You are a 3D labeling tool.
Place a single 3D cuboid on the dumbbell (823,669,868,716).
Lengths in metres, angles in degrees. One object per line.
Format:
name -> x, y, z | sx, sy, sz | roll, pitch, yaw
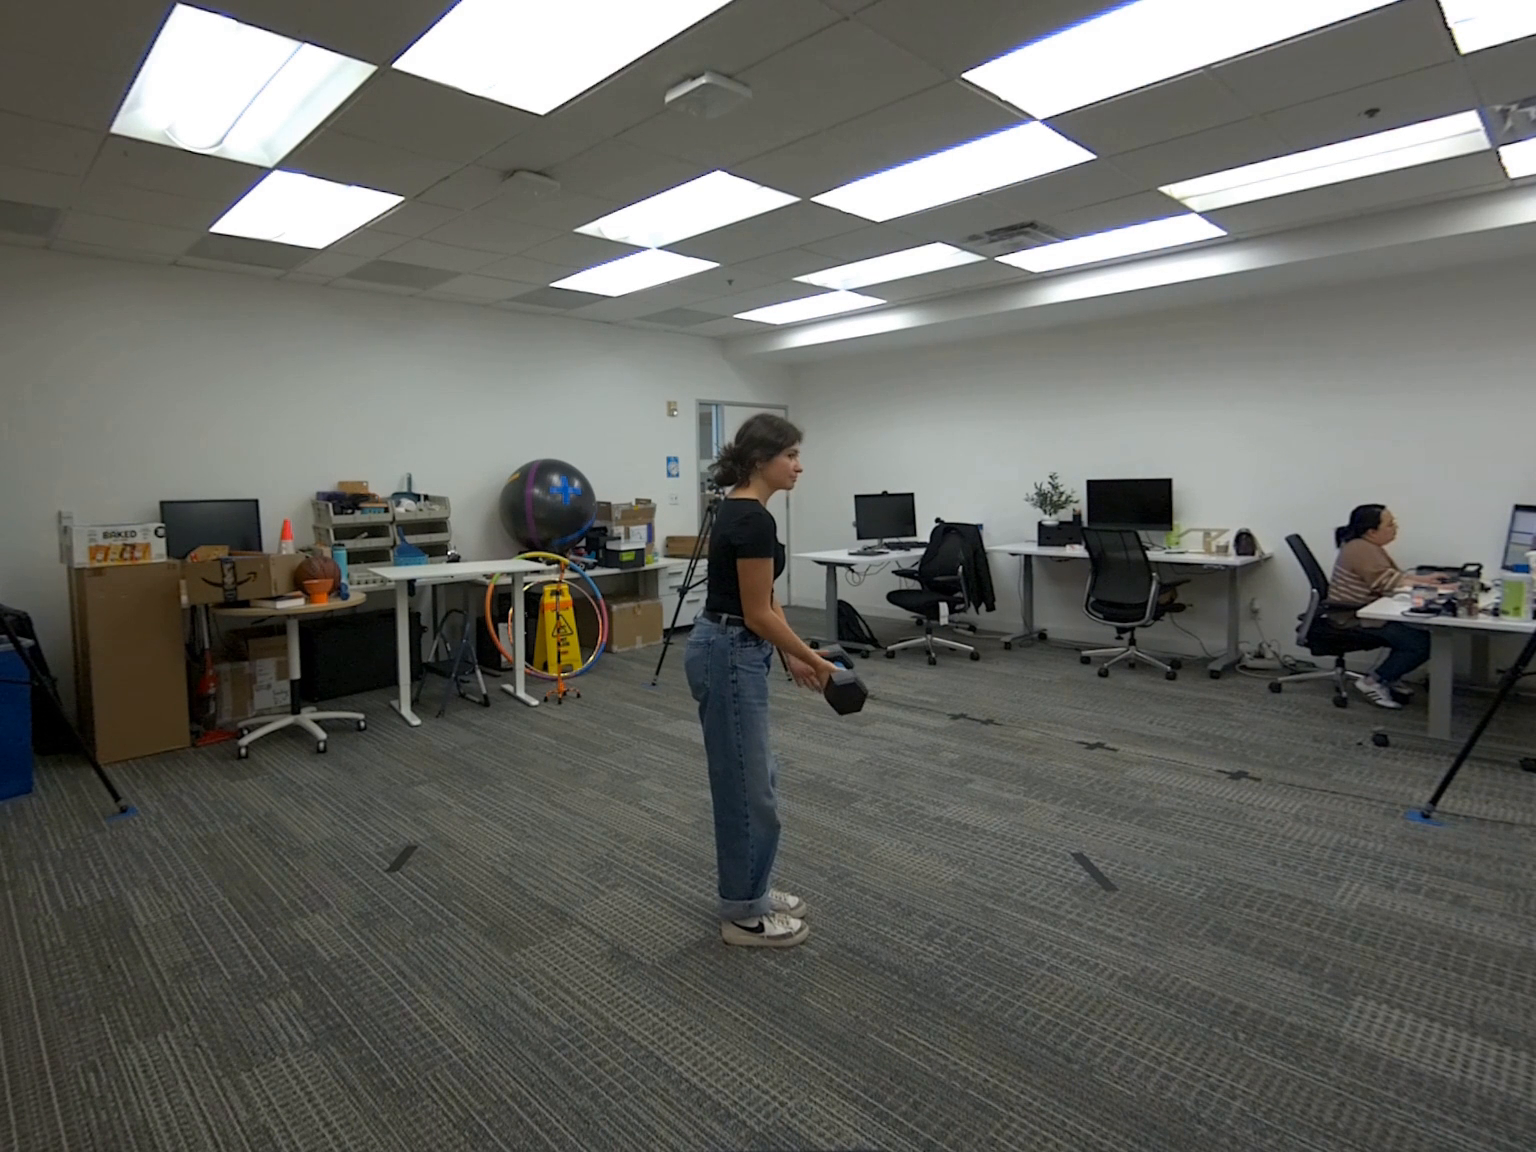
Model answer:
dumbbell -> 0.213, 0.293, 2.515 | 0.109, 0.121, 0.298 | -40, 13, 4
